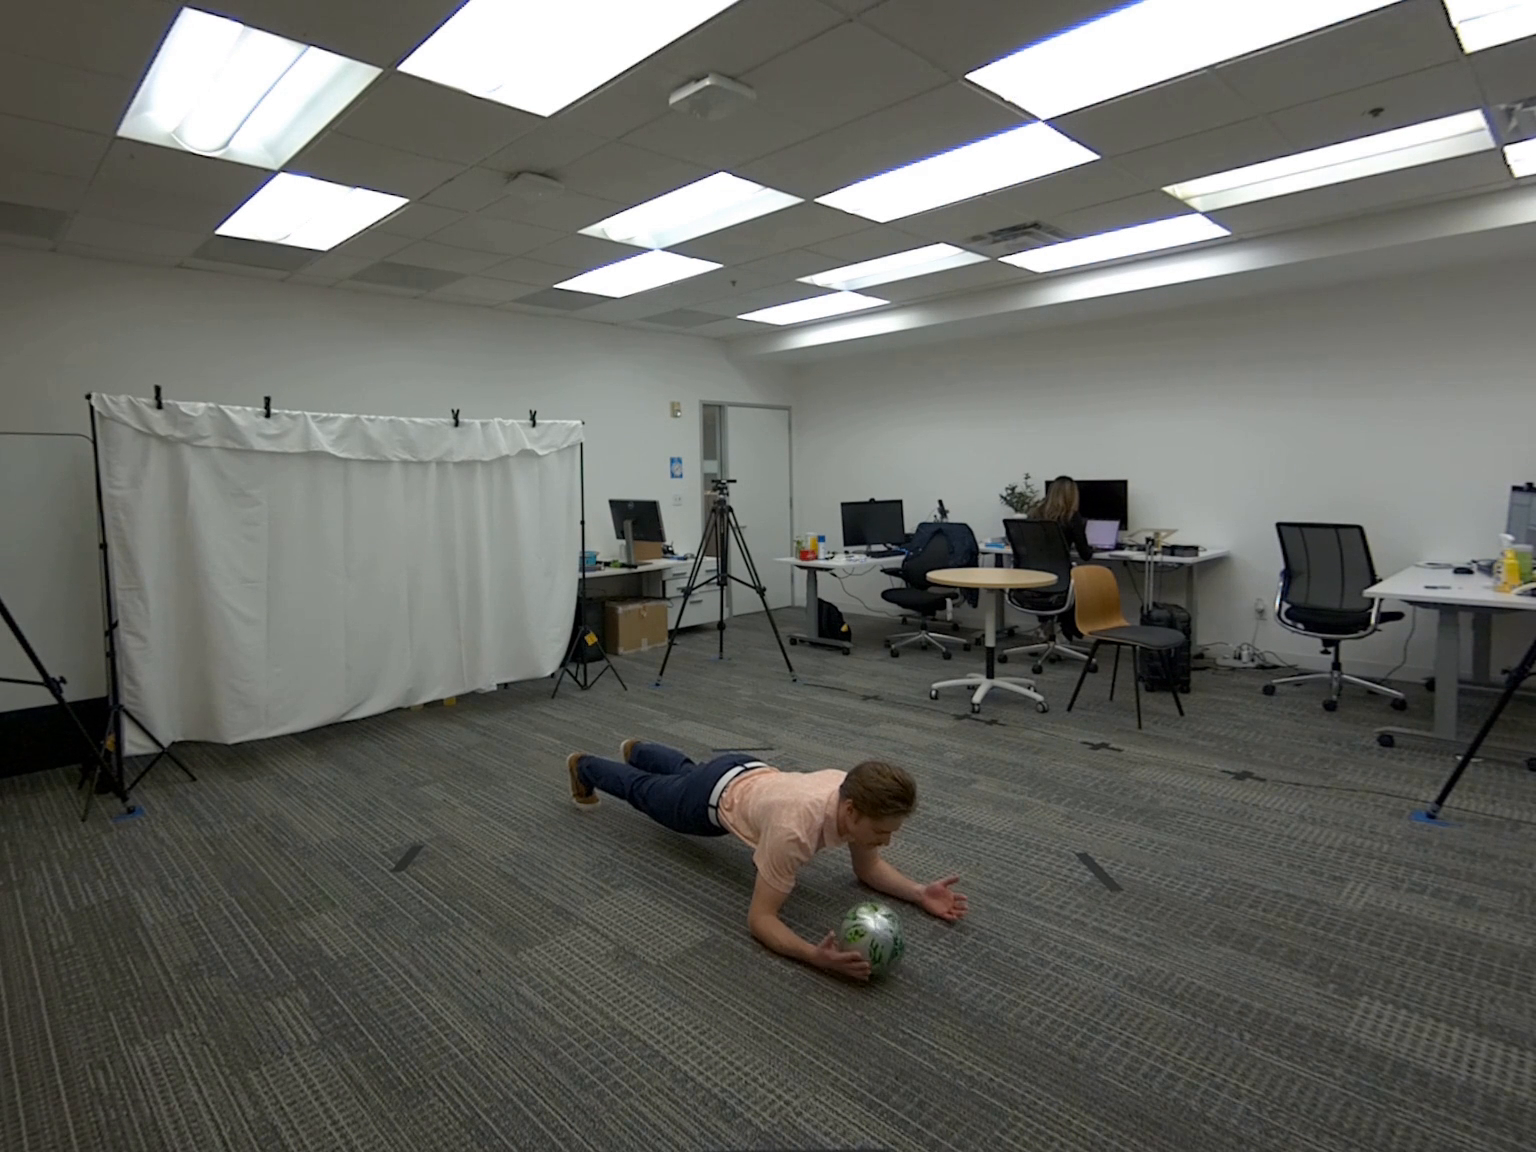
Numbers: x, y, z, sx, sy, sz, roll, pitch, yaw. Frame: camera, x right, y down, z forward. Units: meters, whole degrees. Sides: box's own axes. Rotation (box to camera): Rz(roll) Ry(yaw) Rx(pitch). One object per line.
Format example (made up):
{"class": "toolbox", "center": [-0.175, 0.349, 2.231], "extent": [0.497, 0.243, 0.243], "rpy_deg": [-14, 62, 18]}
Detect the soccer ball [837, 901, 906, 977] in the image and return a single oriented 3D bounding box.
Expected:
{"class": "soccer ball", "center": [0.304, 1.023, 2.406], "extent": [0.187, 0.187, 0.188], "rpy_deg": [-1, 5, -2]}
